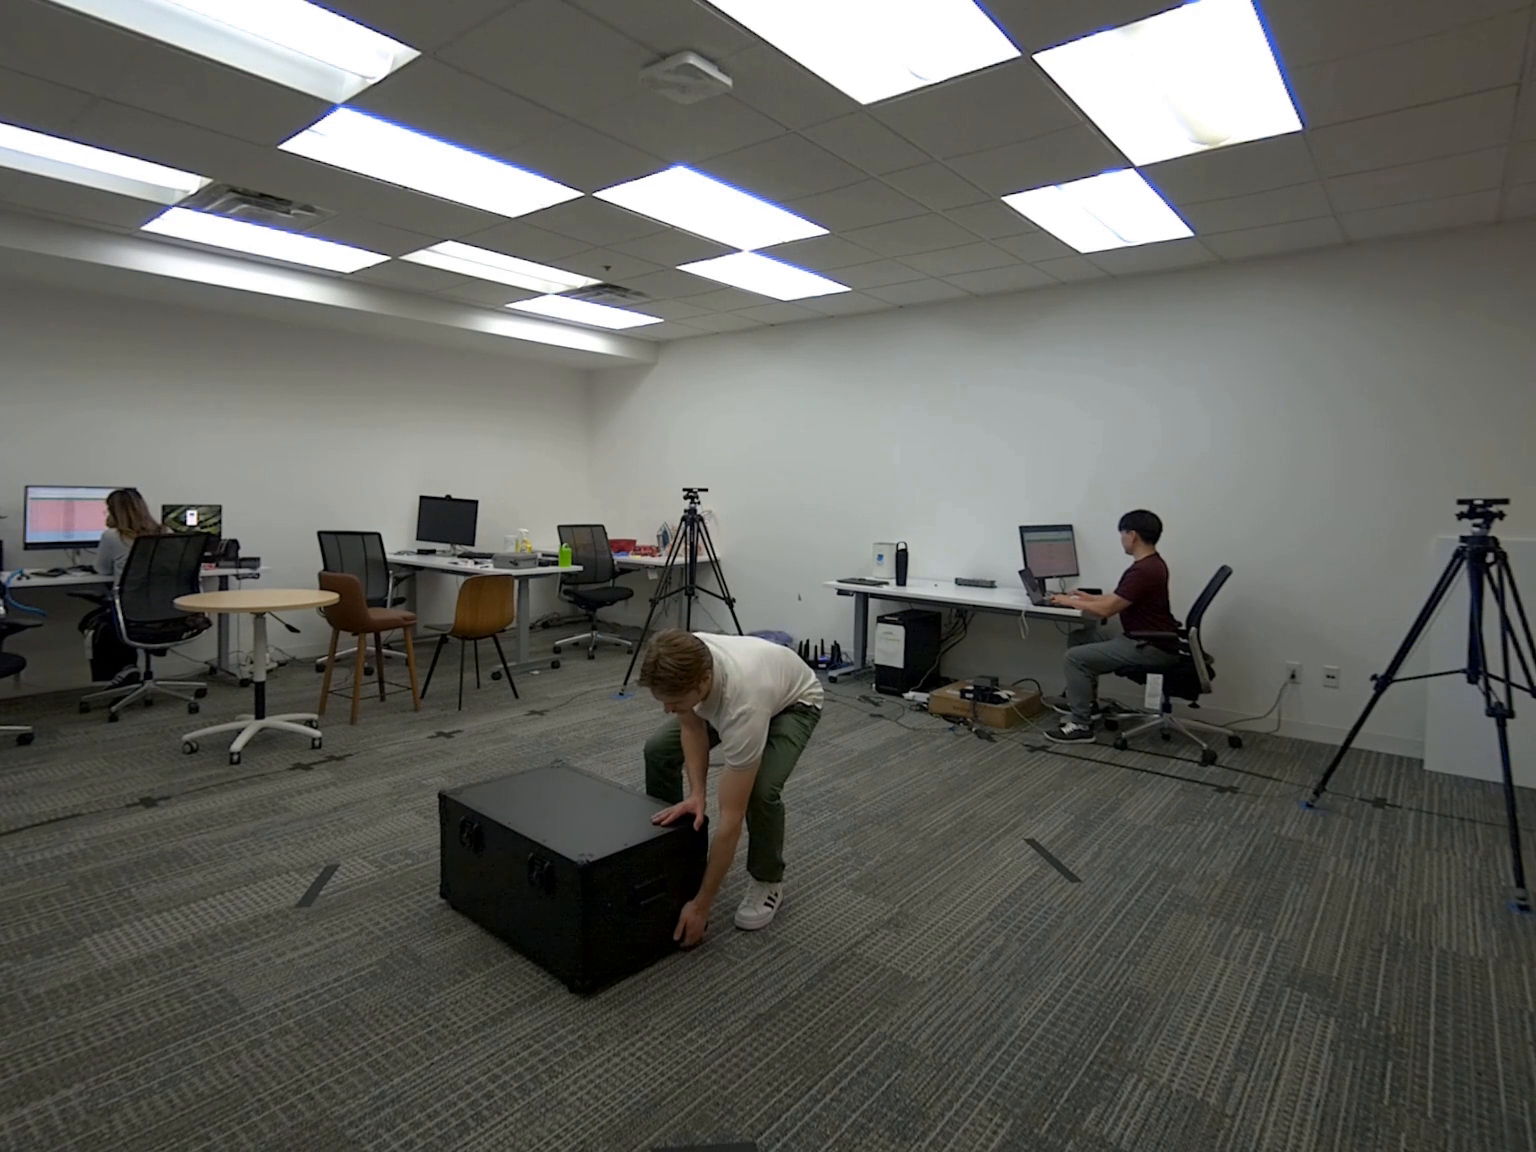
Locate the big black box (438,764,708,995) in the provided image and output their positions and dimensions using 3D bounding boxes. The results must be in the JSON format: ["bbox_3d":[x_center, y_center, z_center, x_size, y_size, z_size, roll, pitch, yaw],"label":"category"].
[{"bbox_3d":[-0.671,0.903,2.745,0.898,0.383,0.508,6,7,43],"label":"big black box"}]
